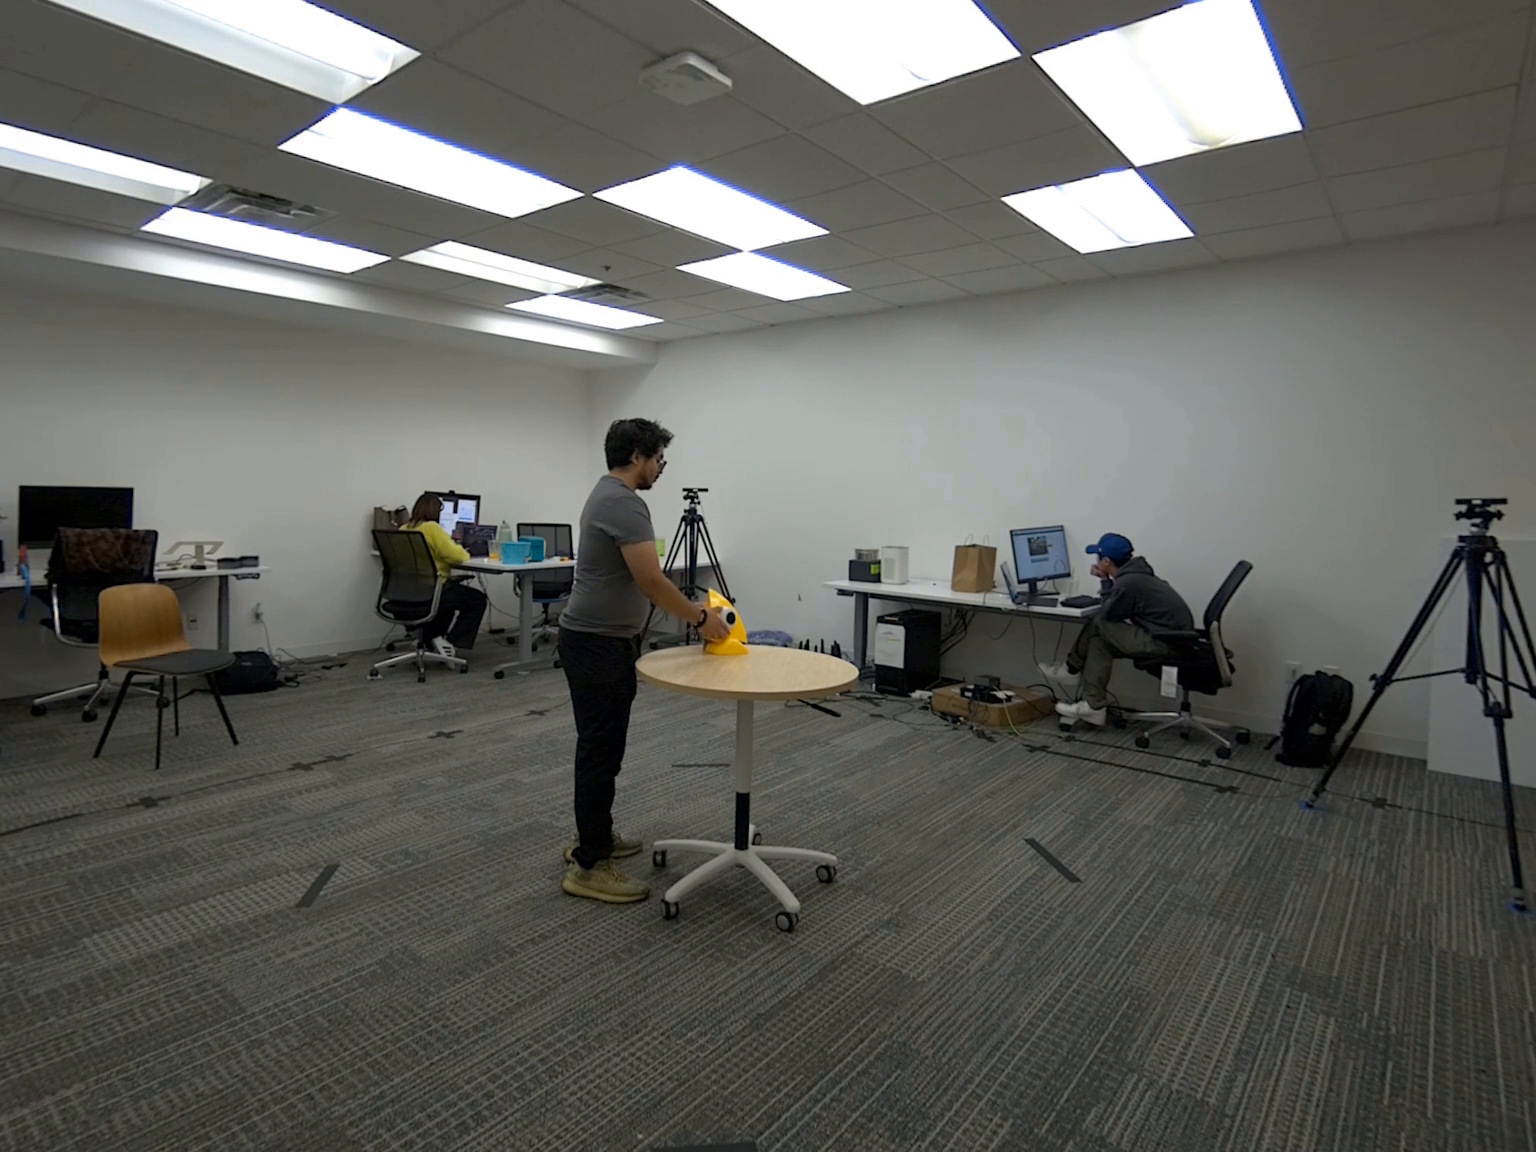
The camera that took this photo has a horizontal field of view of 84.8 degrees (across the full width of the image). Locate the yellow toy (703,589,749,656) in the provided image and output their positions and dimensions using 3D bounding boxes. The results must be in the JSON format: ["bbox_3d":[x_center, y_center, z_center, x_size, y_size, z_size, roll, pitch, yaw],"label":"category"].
[{"bbox_3d":[-0.179,0.161,3.196,0.190,0.229,0.209,2,6,-14],"label":"yellow toy"}]
